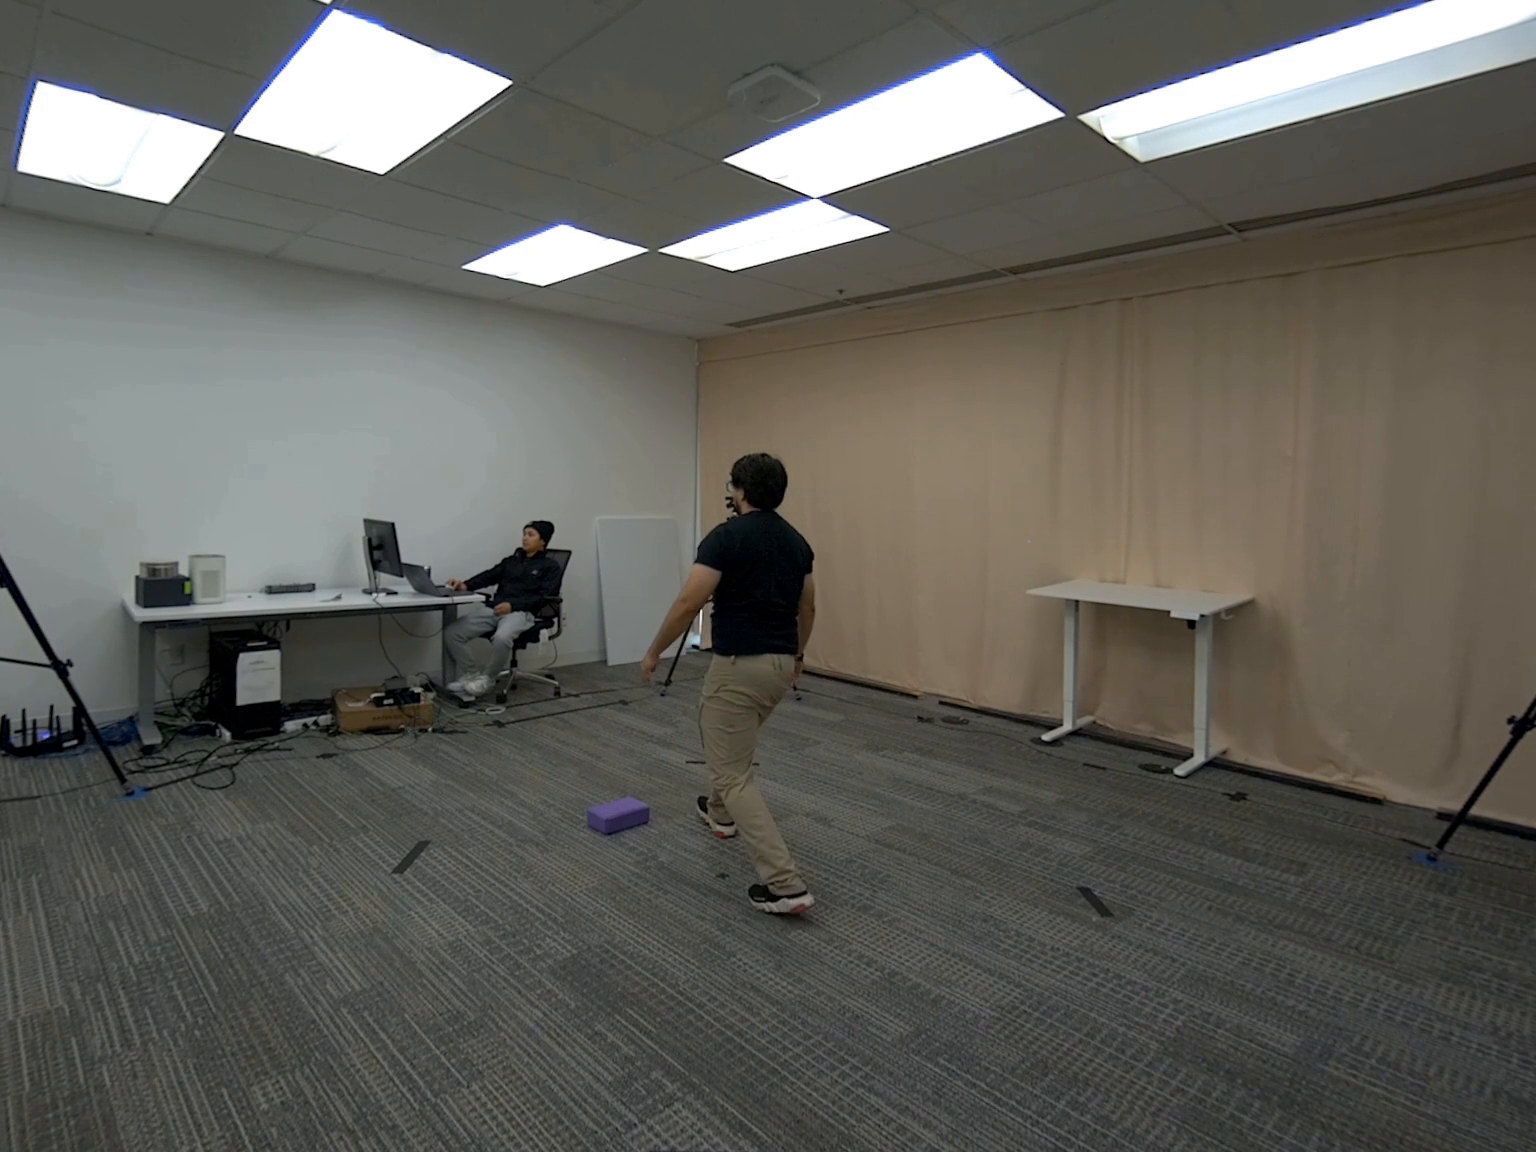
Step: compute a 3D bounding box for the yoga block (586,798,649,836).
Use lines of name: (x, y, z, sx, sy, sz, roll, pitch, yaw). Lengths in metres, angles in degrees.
yoga block: (-0.644, 1.014, 3.572, 0.153, 0.076, 0.224, 6, 7, 44)
